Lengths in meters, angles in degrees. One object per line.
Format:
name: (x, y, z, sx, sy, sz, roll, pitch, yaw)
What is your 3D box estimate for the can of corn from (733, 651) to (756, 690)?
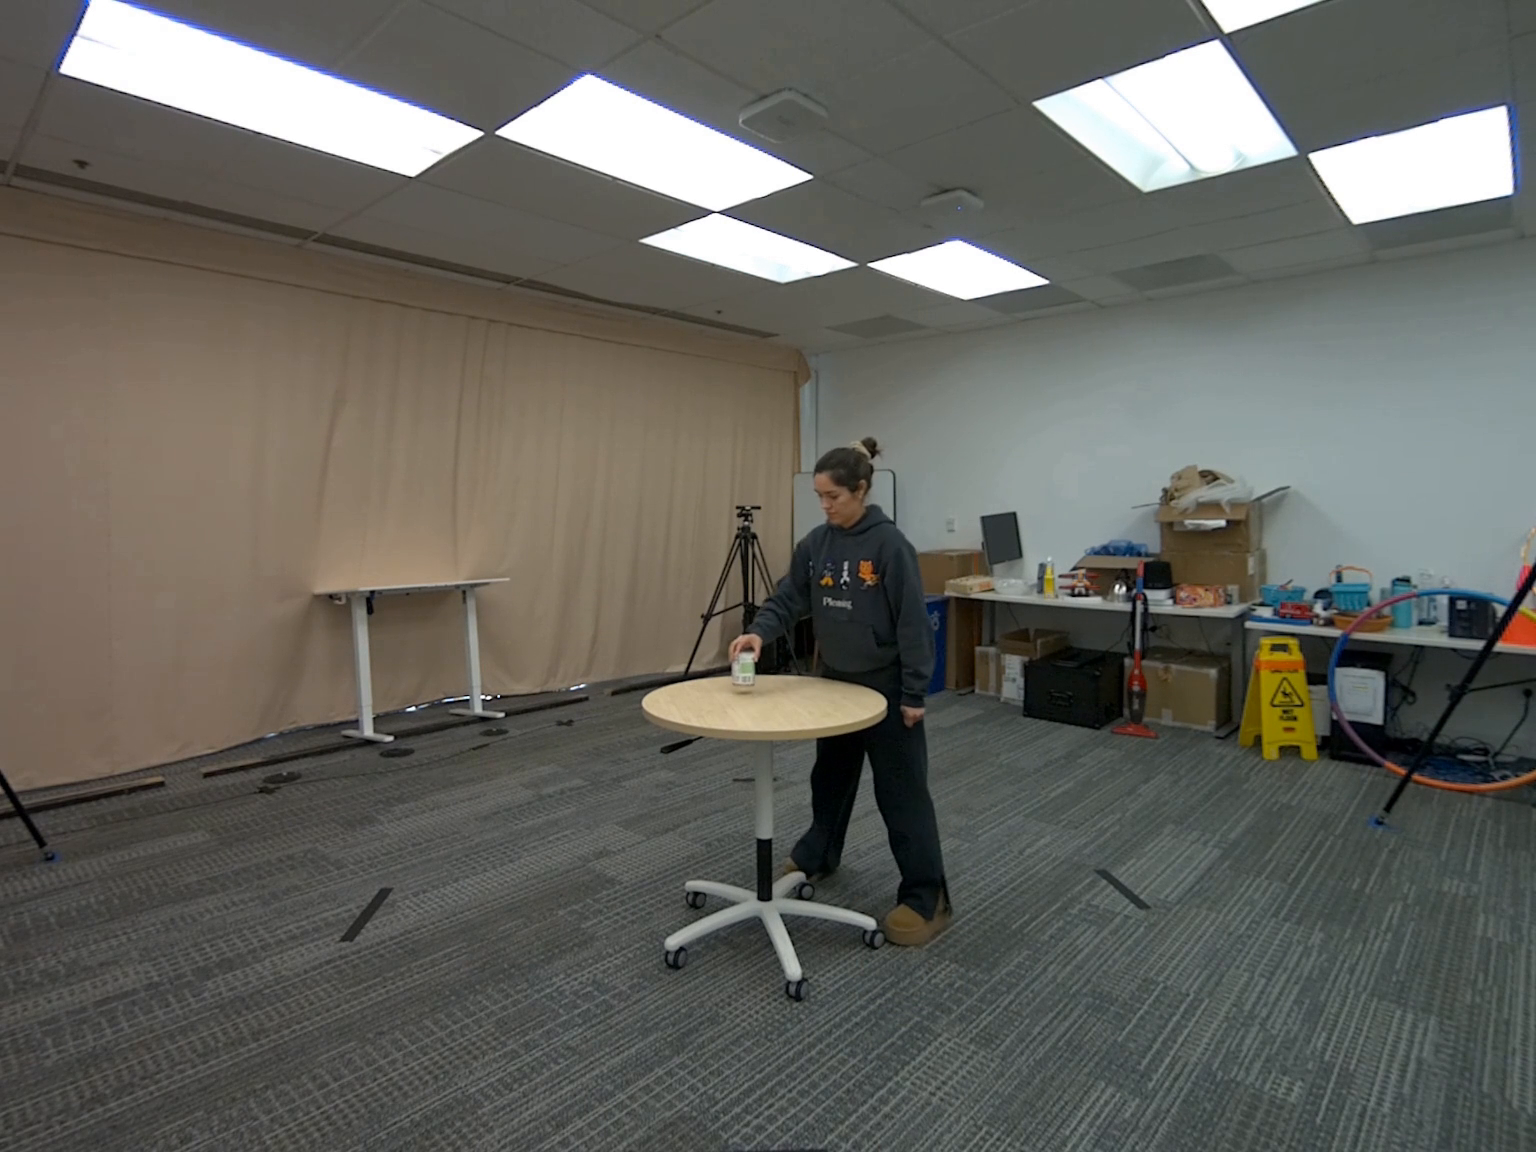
can of corn: (-0.047, 0.302, 2.735, 0.074, 0.111, 0.074, -1, 2, -2)
